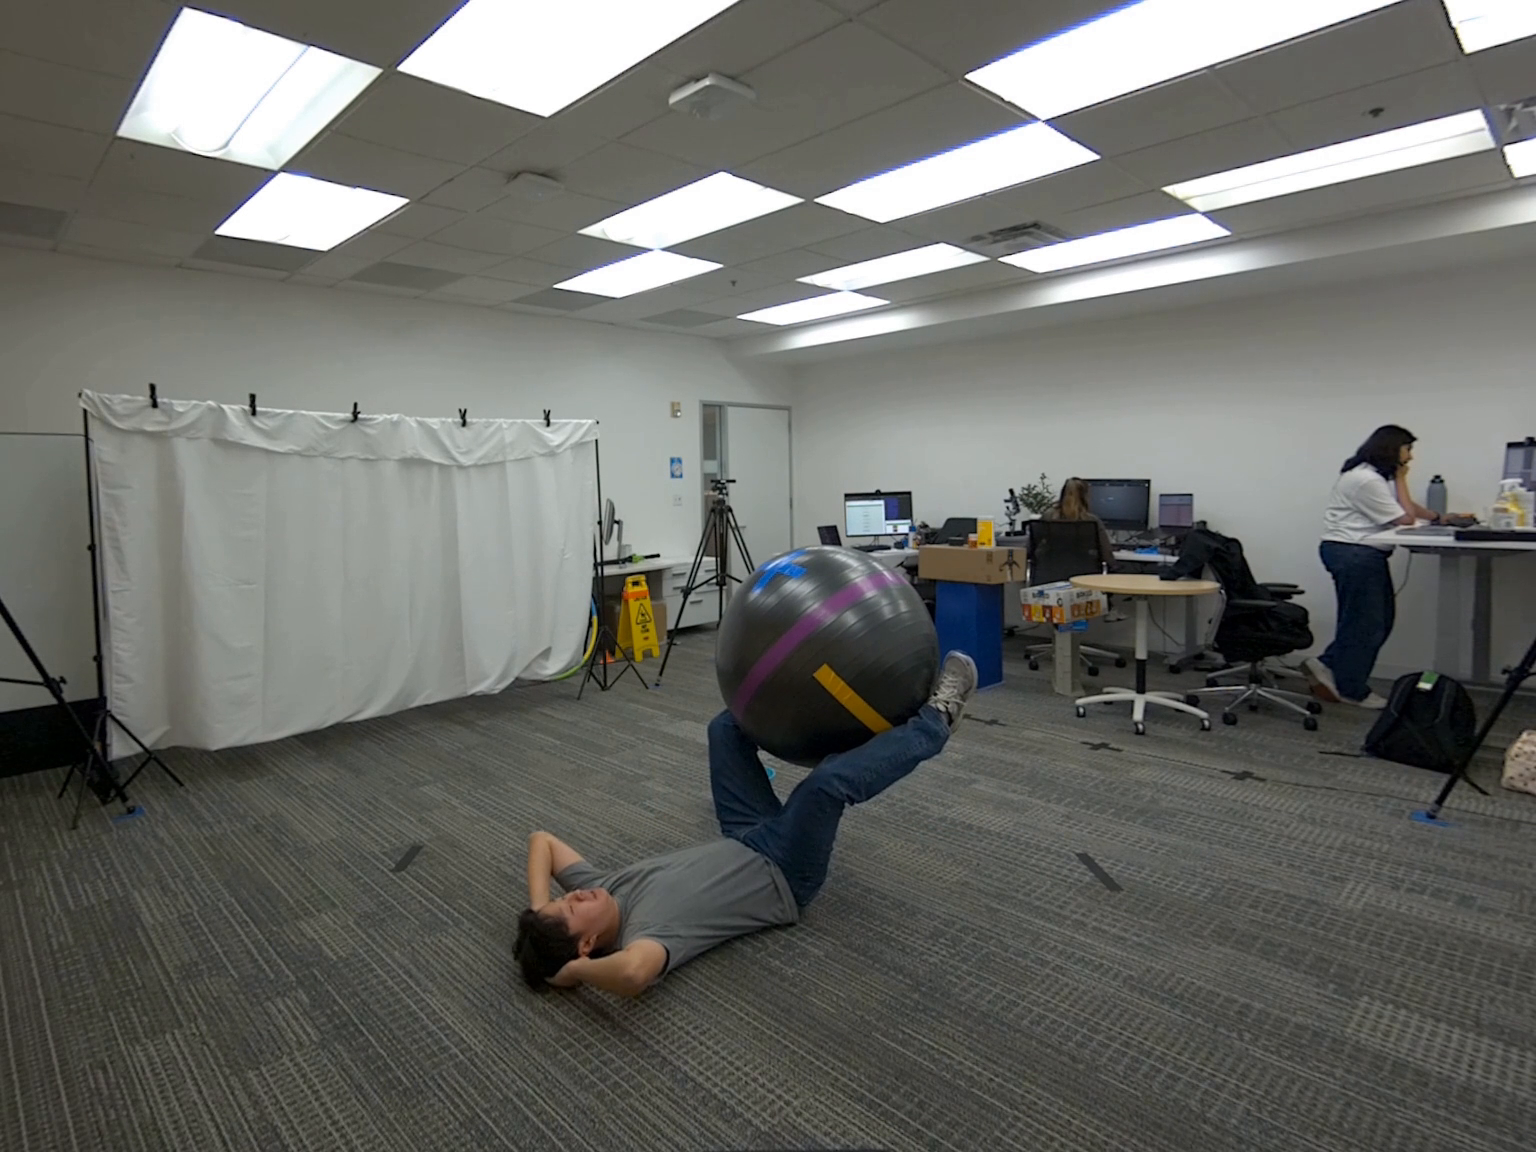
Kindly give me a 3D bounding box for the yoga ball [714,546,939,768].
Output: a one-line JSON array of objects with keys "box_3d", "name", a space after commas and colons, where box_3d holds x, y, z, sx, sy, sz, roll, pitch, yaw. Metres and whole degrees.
[{"box_3d": [0.196, 0.277, 2.917, 0.757, 0.755, 0.762, -1, 5, -2], "name": "yoga ball"}]
